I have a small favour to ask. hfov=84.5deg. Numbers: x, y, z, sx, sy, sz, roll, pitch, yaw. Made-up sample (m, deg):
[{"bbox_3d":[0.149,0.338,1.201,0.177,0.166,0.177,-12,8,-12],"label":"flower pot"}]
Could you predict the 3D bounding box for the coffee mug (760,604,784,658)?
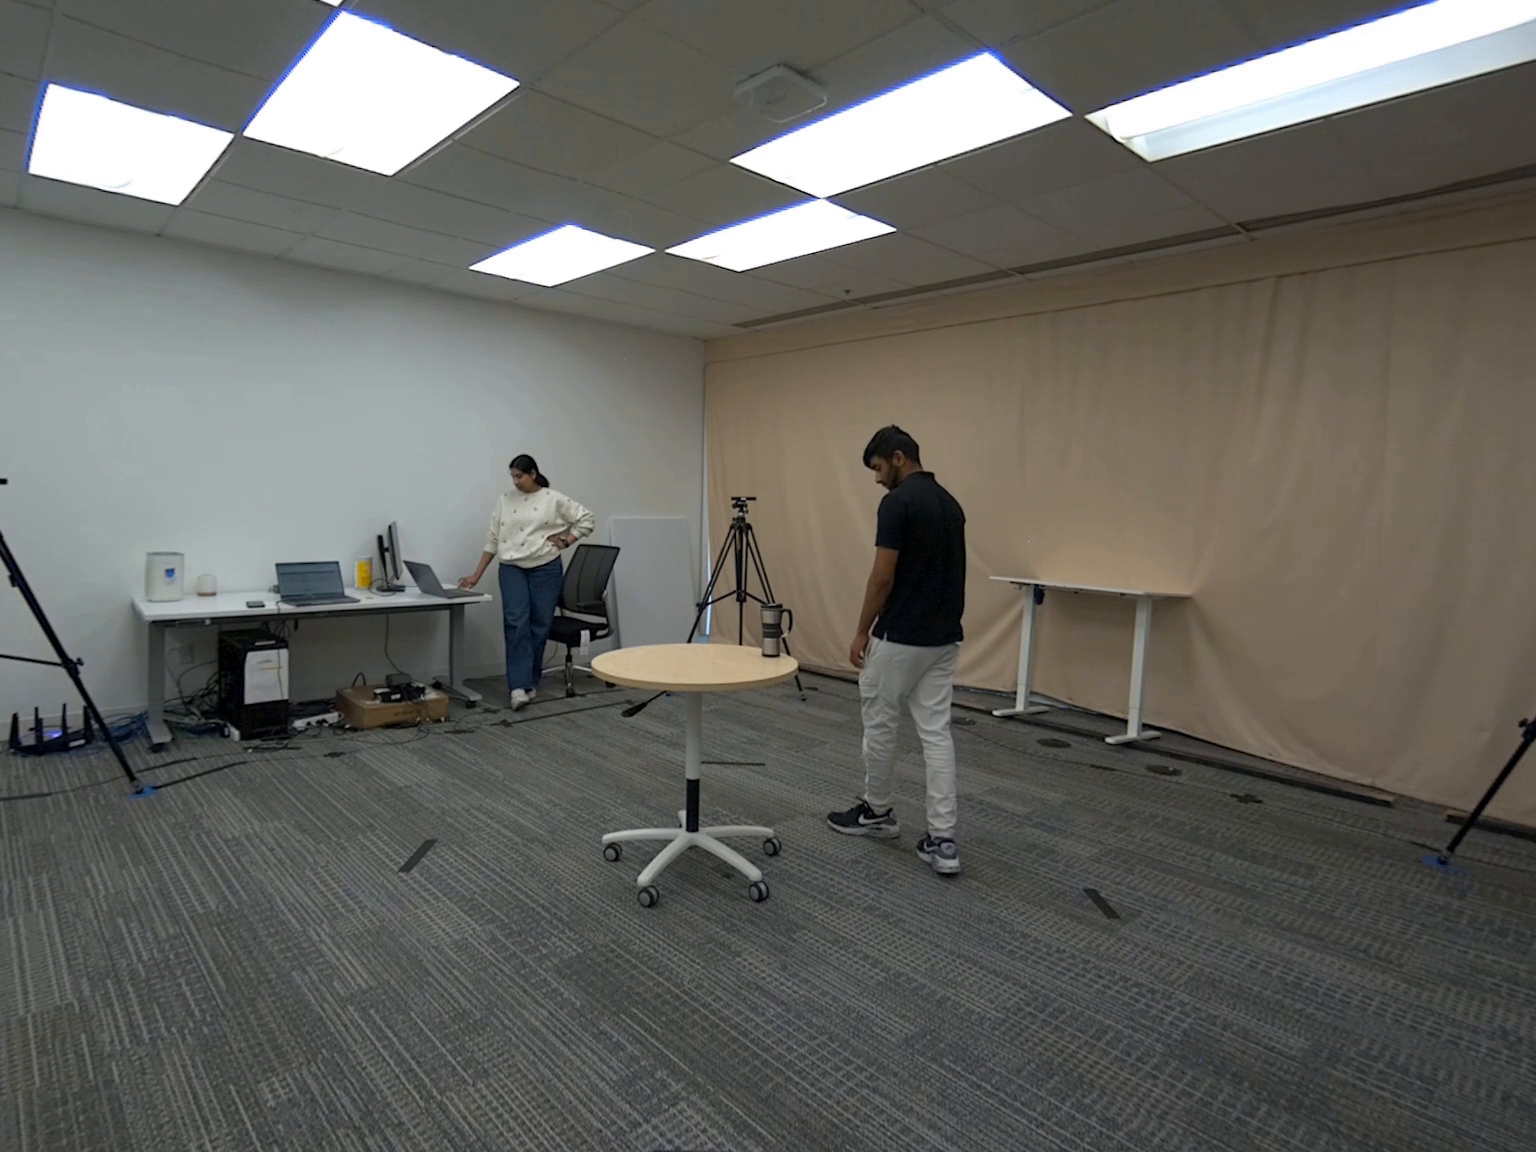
[{"bbox_3d":[0.024,0.213,3.243,0.124,0.203,0.086,0,0,32],"label":"coffee mug"}]
